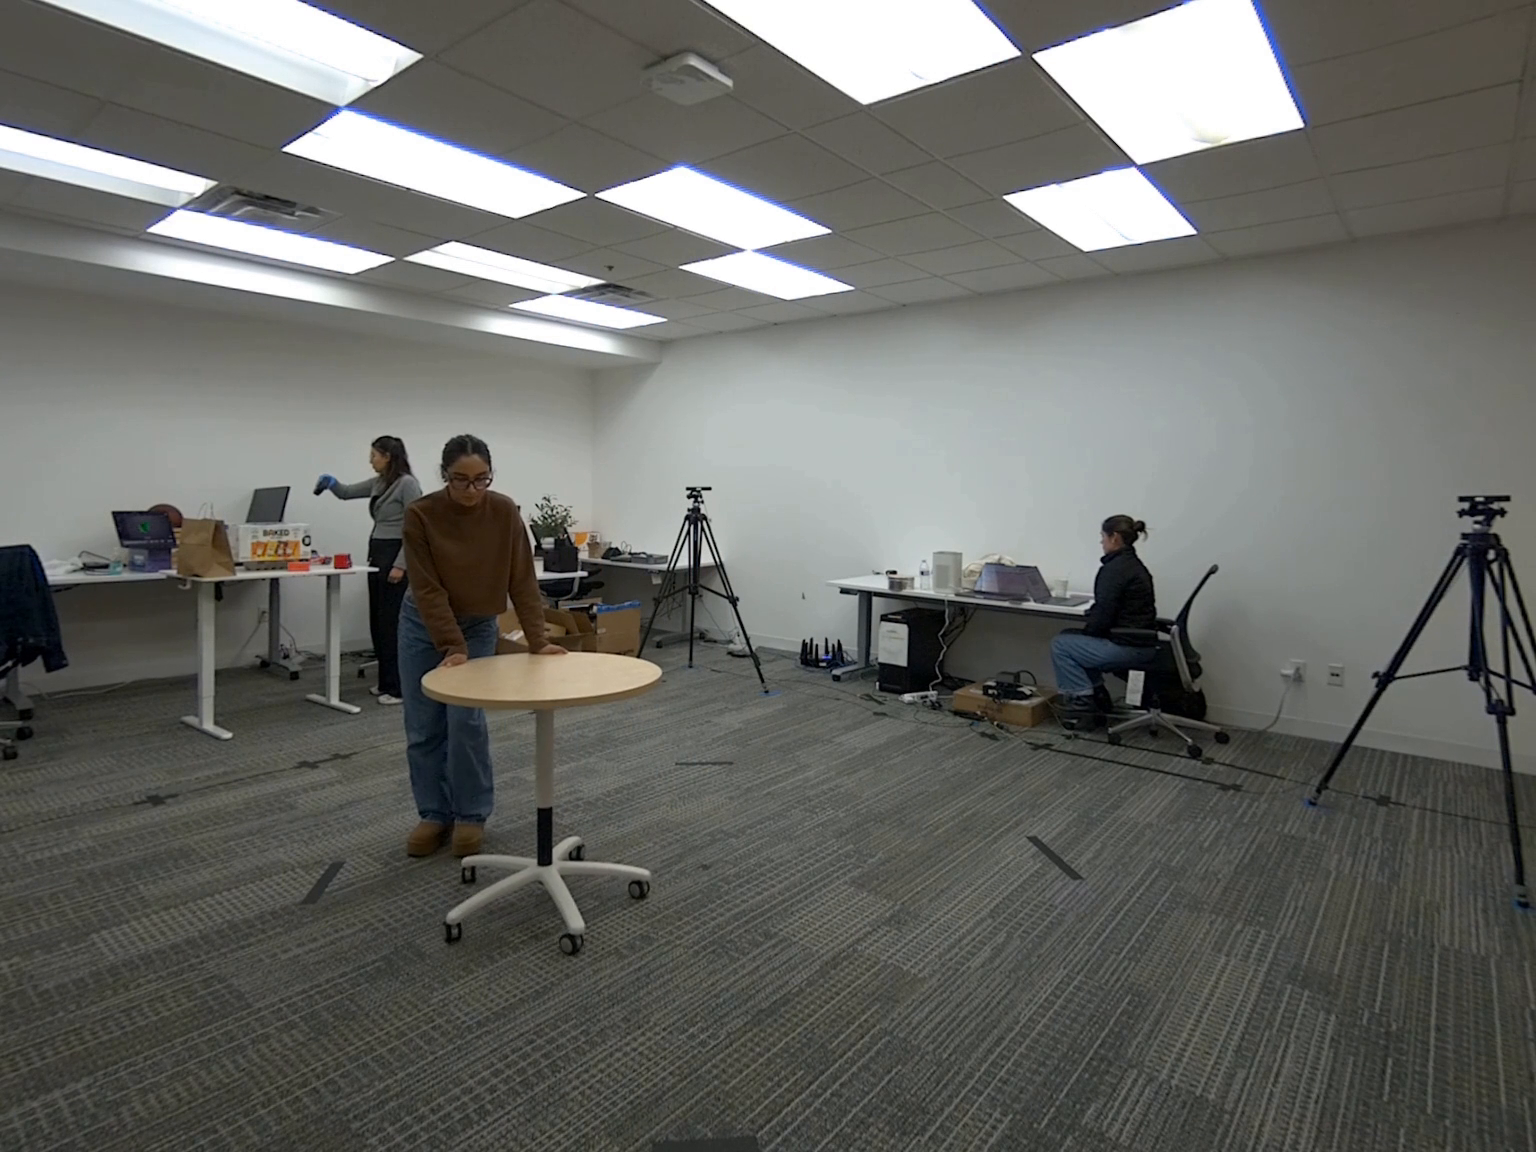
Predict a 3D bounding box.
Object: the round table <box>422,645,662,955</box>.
[{"bbox_3d":[-0.747,0.707,2.800,0.763,0.791,0.768,0,4,-2],"label":"round table"}]
